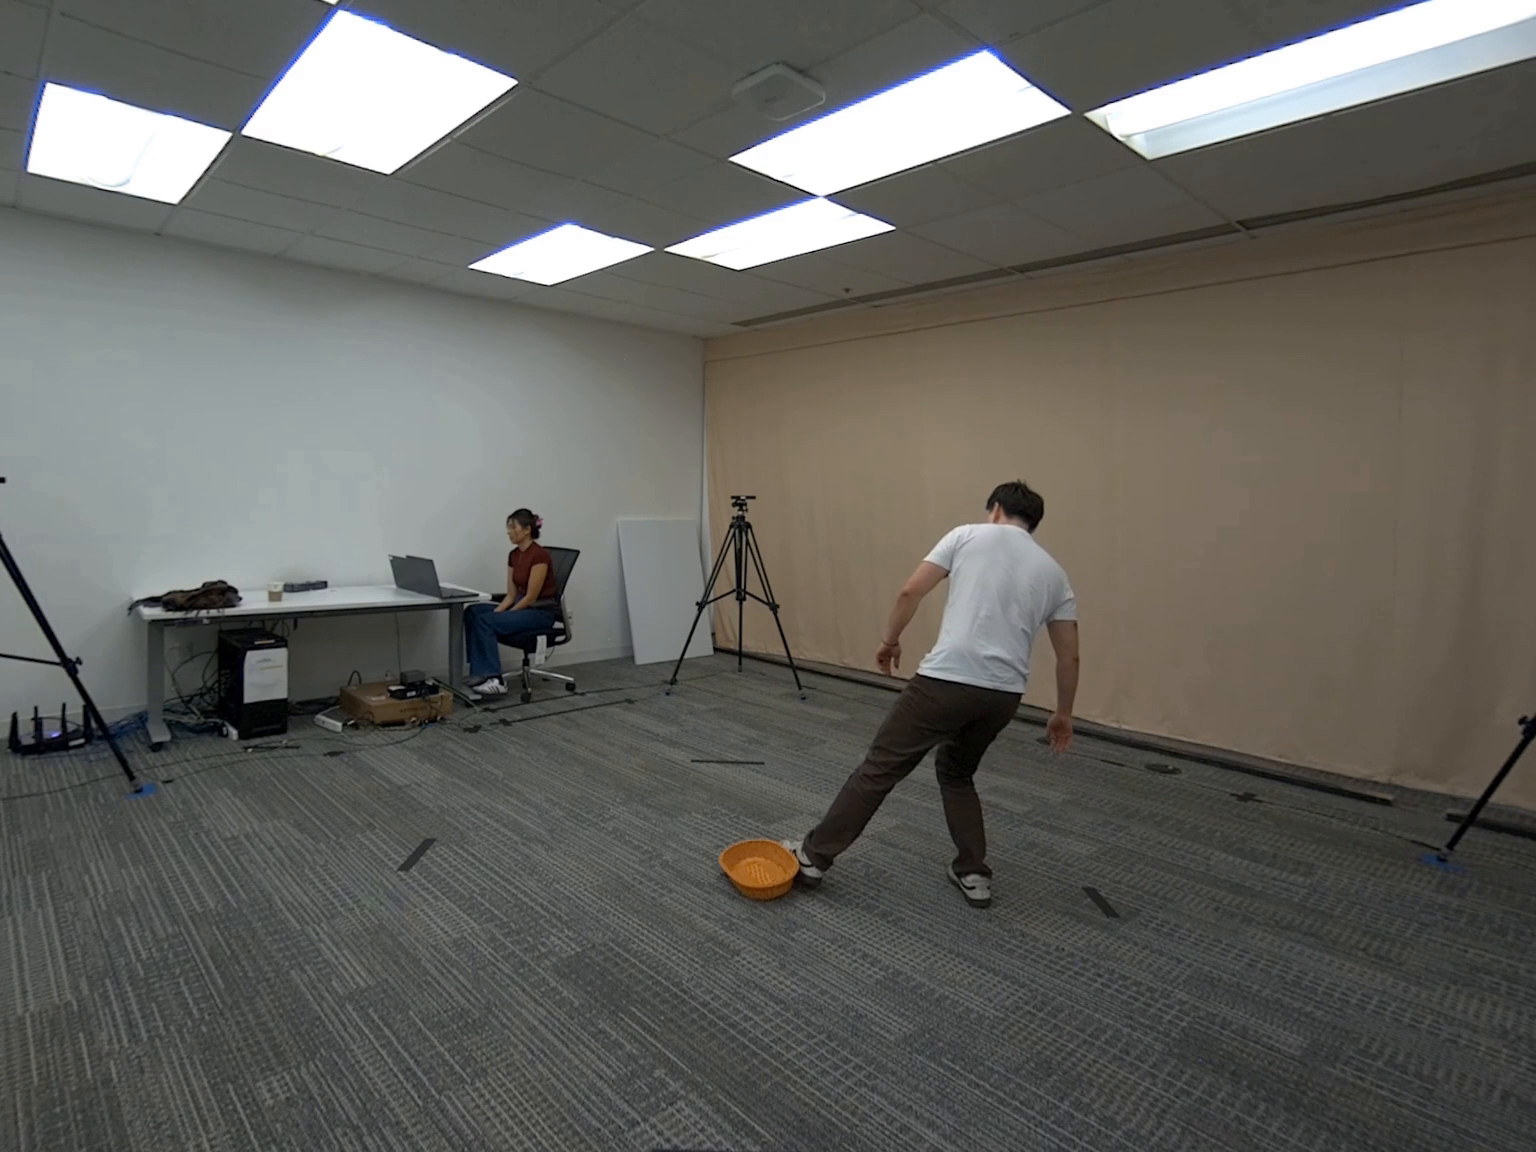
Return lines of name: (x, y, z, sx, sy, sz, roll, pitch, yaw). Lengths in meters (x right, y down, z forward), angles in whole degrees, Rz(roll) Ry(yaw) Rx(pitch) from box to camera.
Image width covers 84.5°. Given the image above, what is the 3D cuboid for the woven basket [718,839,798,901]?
woven basket: (-0.040, 1.059, 3.027, 0.249, 0.073, 0.358, -11, 11, -25)
